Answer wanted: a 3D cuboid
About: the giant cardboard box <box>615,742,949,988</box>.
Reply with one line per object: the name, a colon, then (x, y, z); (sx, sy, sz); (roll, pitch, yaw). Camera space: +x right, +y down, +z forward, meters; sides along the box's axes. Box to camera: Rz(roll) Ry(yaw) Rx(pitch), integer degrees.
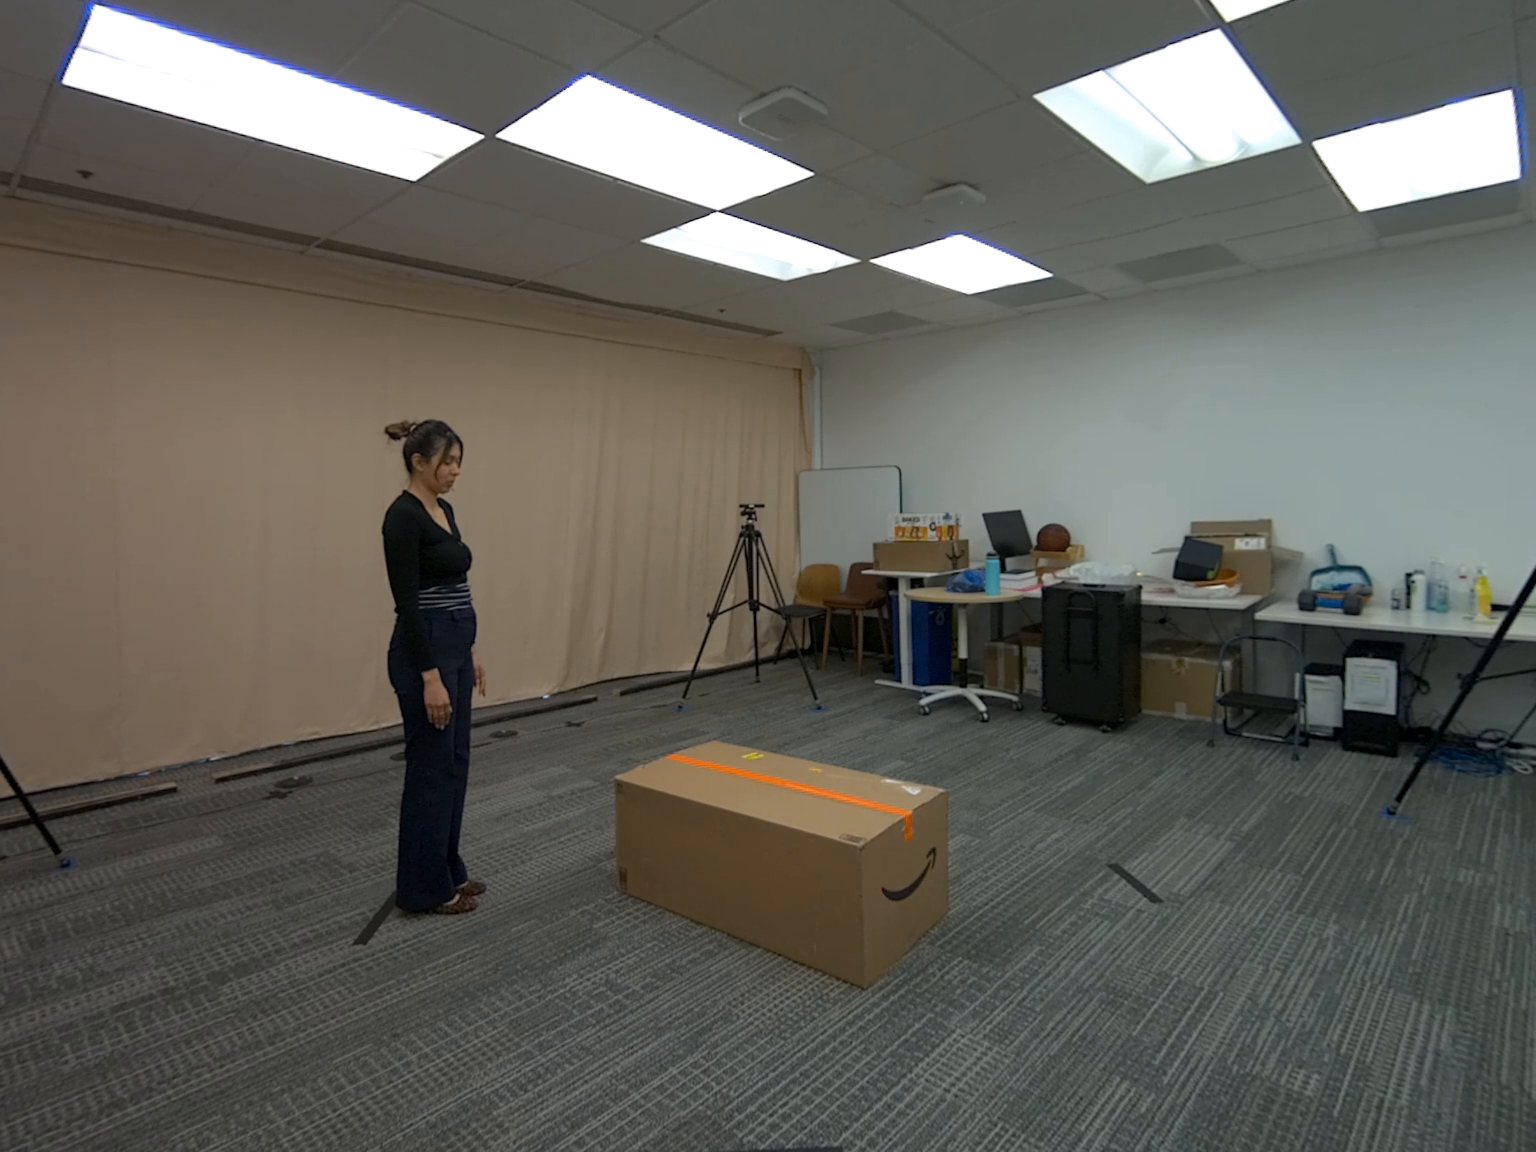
giant cardboard box: (0.031, 0.929, 2.936); (1.059, 0.425, 0.561); (3, 6, 38)
